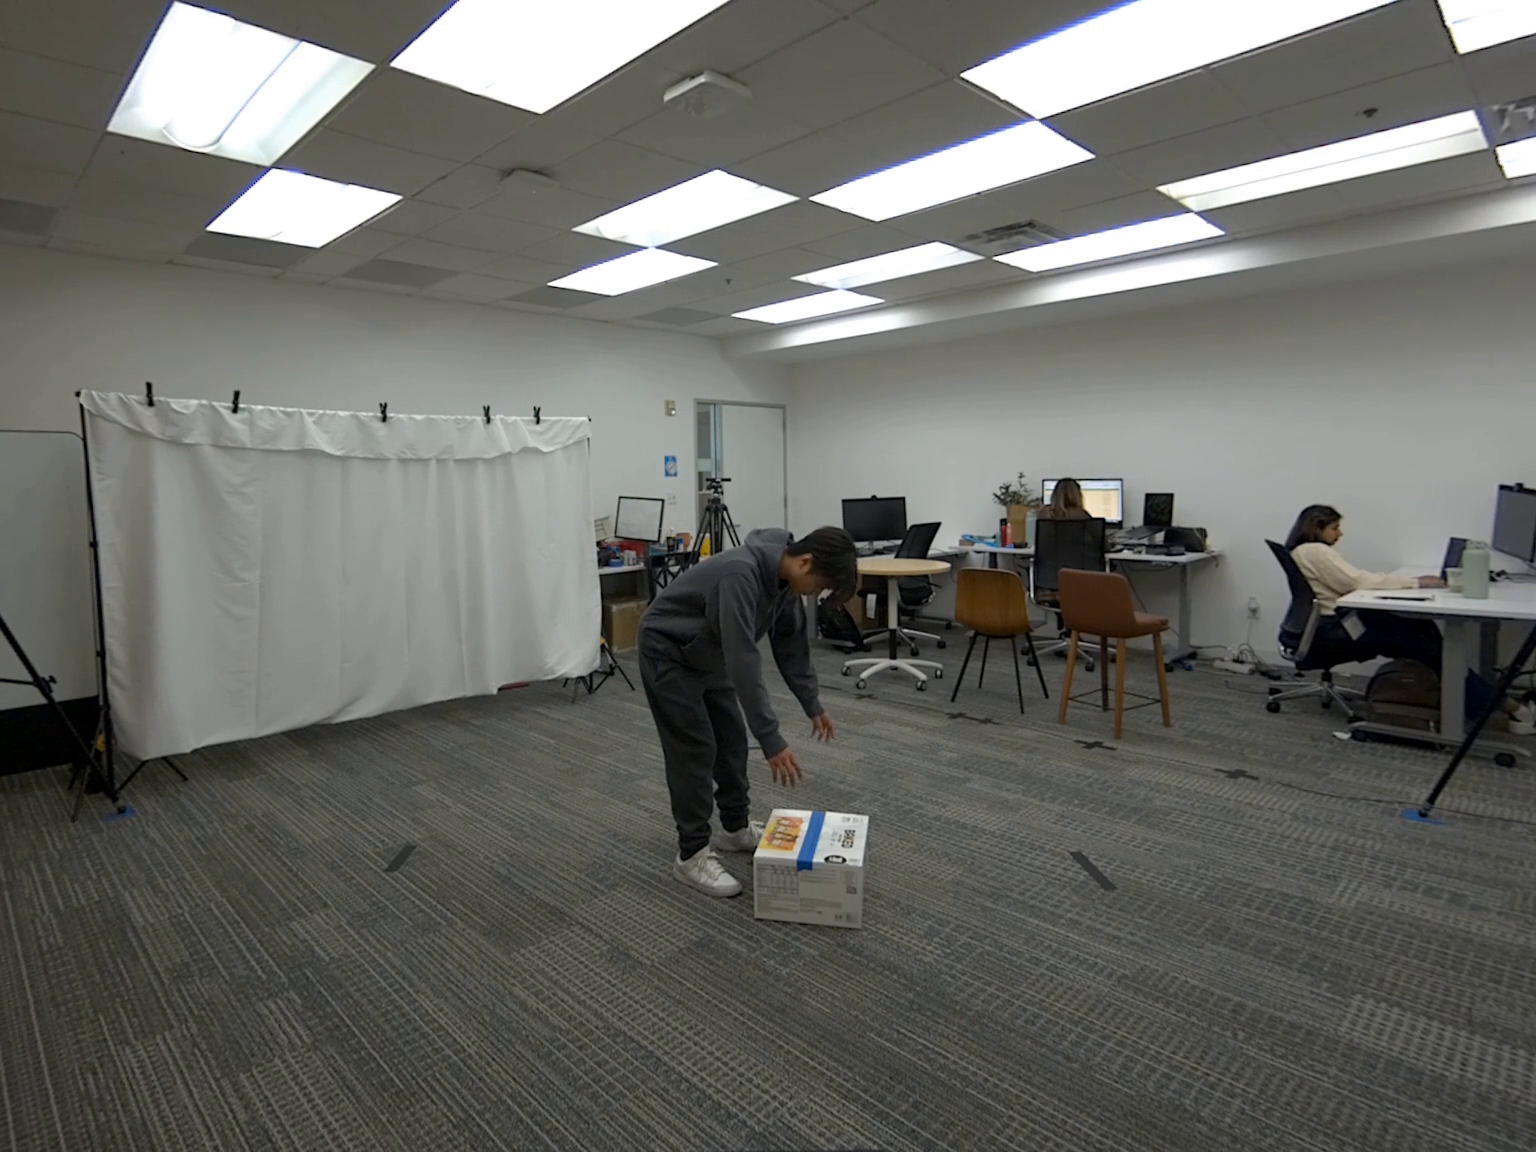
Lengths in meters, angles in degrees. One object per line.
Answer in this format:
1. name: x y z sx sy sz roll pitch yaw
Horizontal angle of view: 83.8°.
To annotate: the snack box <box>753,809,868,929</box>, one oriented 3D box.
1. snack box: 0.161 0.966 2.855 0.344 0.205 0.402 0 6 11
